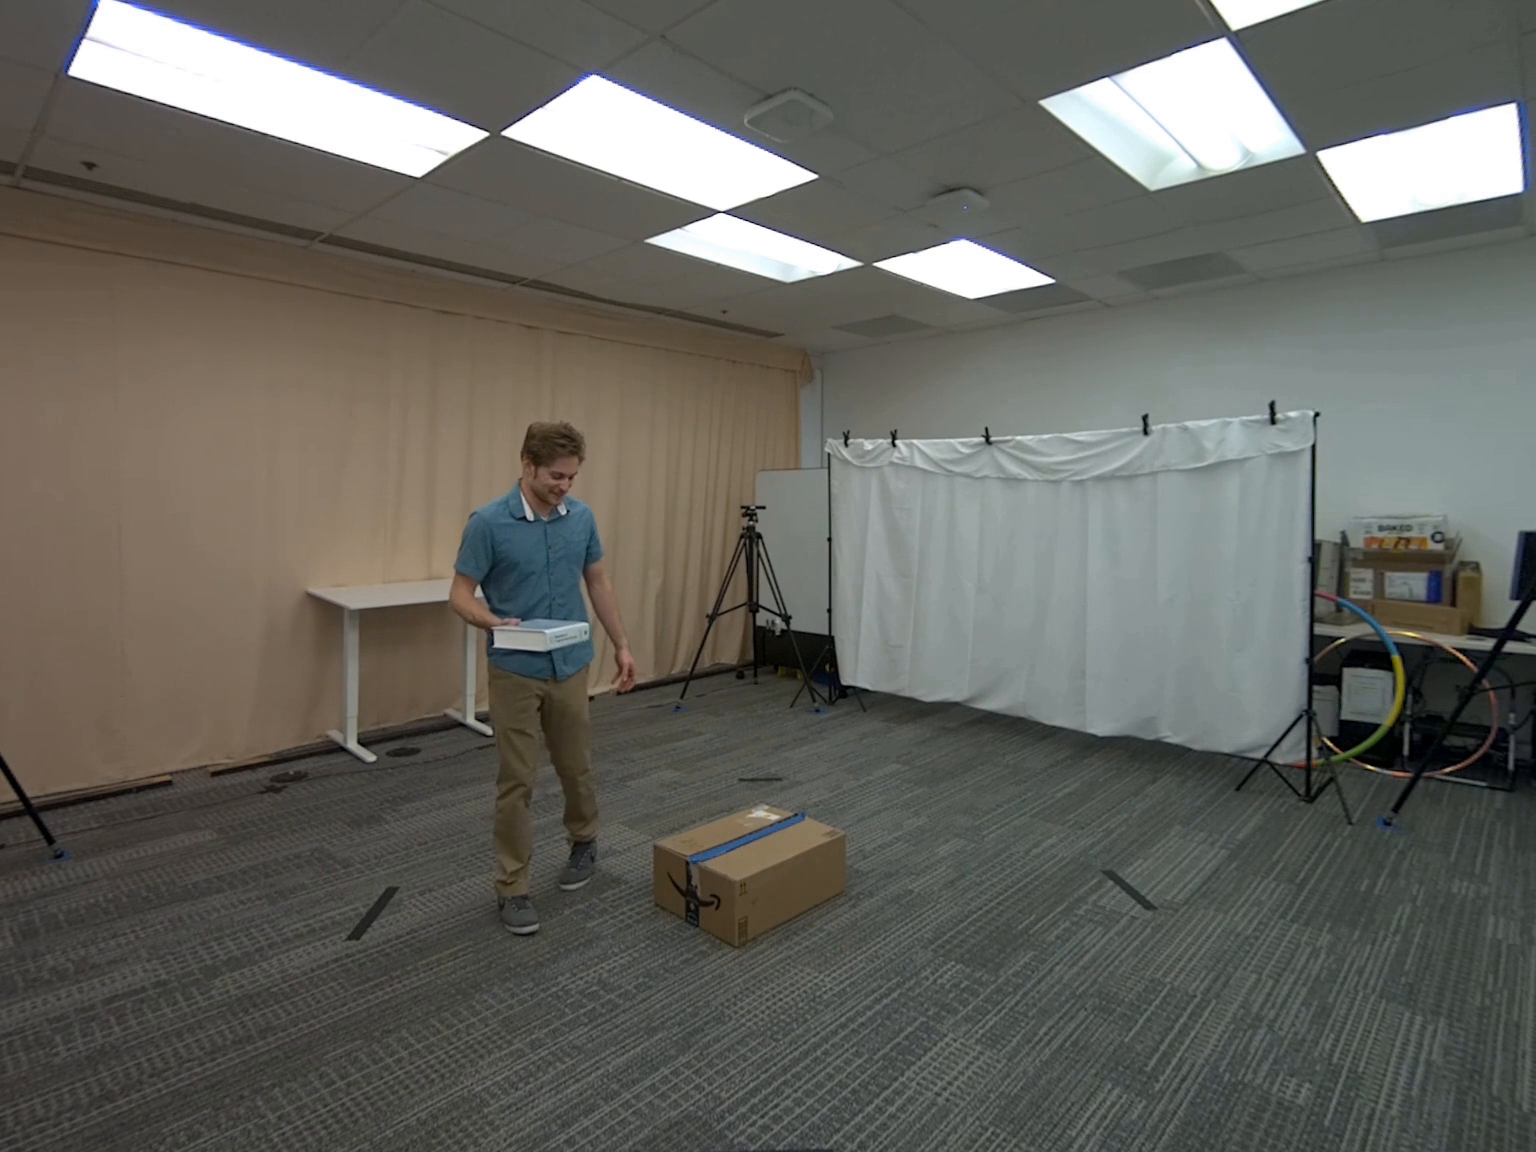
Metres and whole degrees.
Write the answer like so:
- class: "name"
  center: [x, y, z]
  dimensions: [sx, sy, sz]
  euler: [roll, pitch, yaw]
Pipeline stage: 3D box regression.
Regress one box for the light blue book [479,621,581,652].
- class: "light blue book"
  center: [-0.718, 0.177, 2.569]
  dimensions: [0.195, 0.059, 0.257]
  euler: [3, 4, 16]
